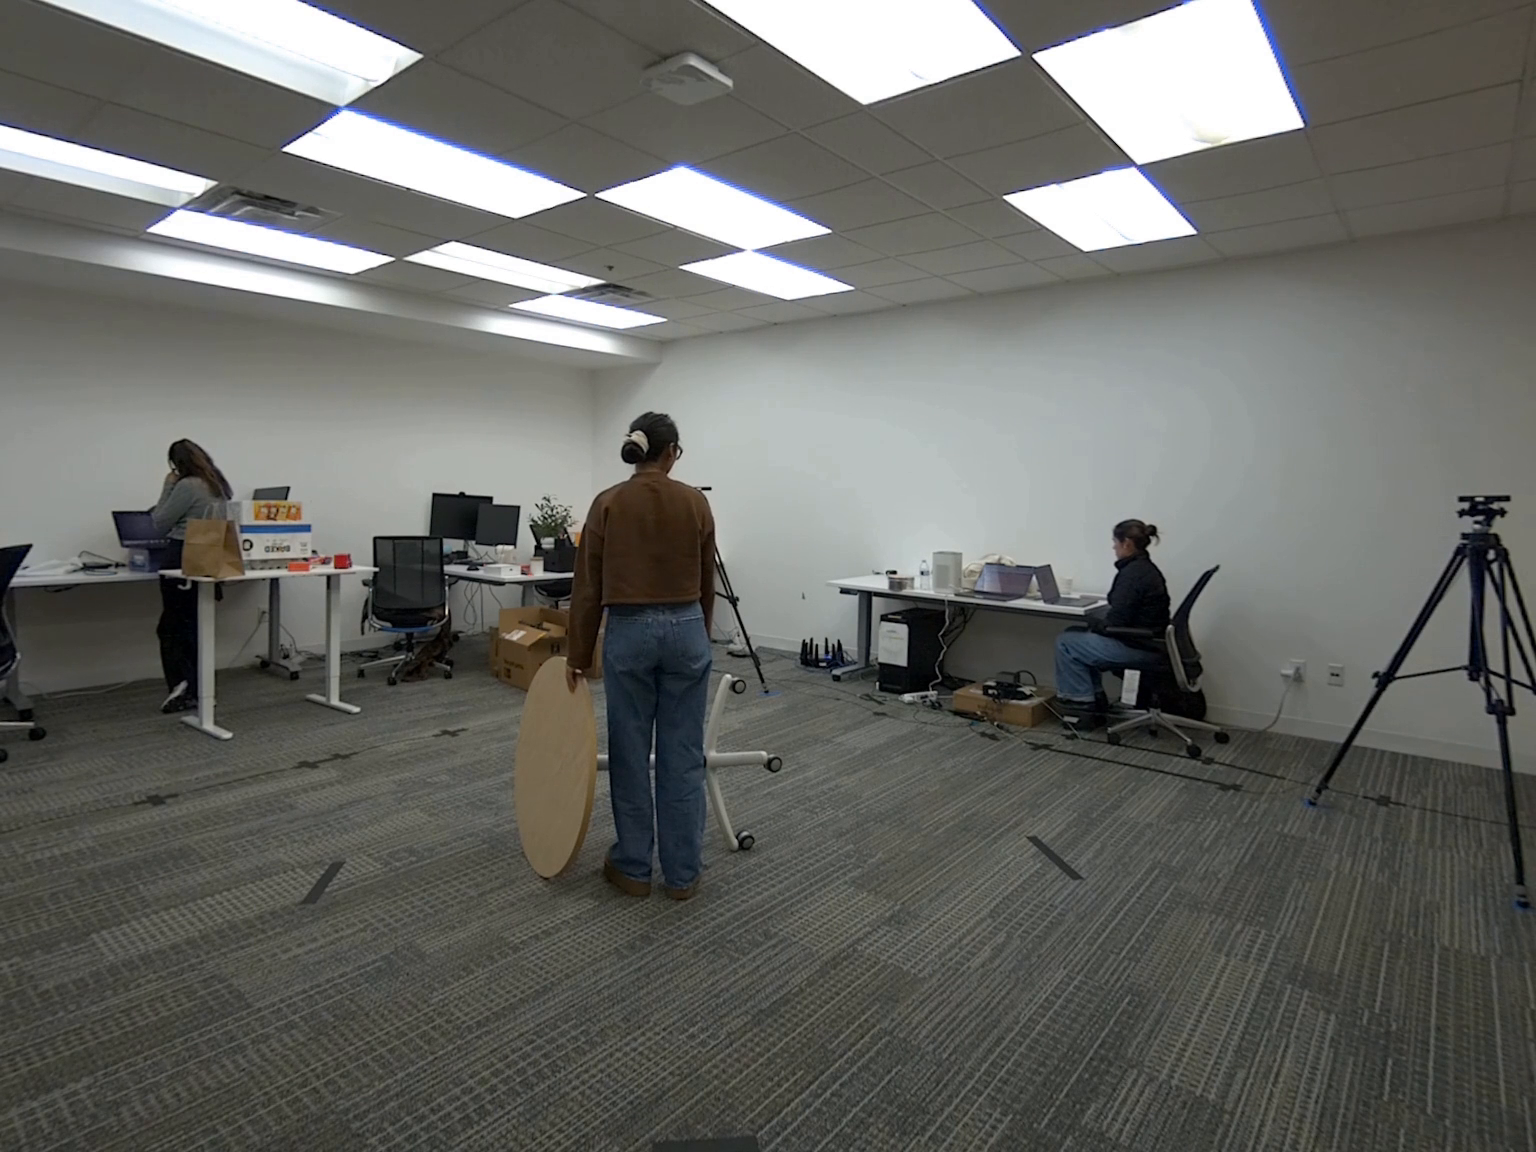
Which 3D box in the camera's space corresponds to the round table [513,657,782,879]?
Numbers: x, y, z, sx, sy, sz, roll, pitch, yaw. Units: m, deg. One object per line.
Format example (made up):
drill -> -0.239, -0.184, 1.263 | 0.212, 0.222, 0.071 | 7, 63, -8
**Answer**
round table -> -0.481, 0.712, 3.278 | 0.769, 0.764, 0.788 | 7, 0, -32
